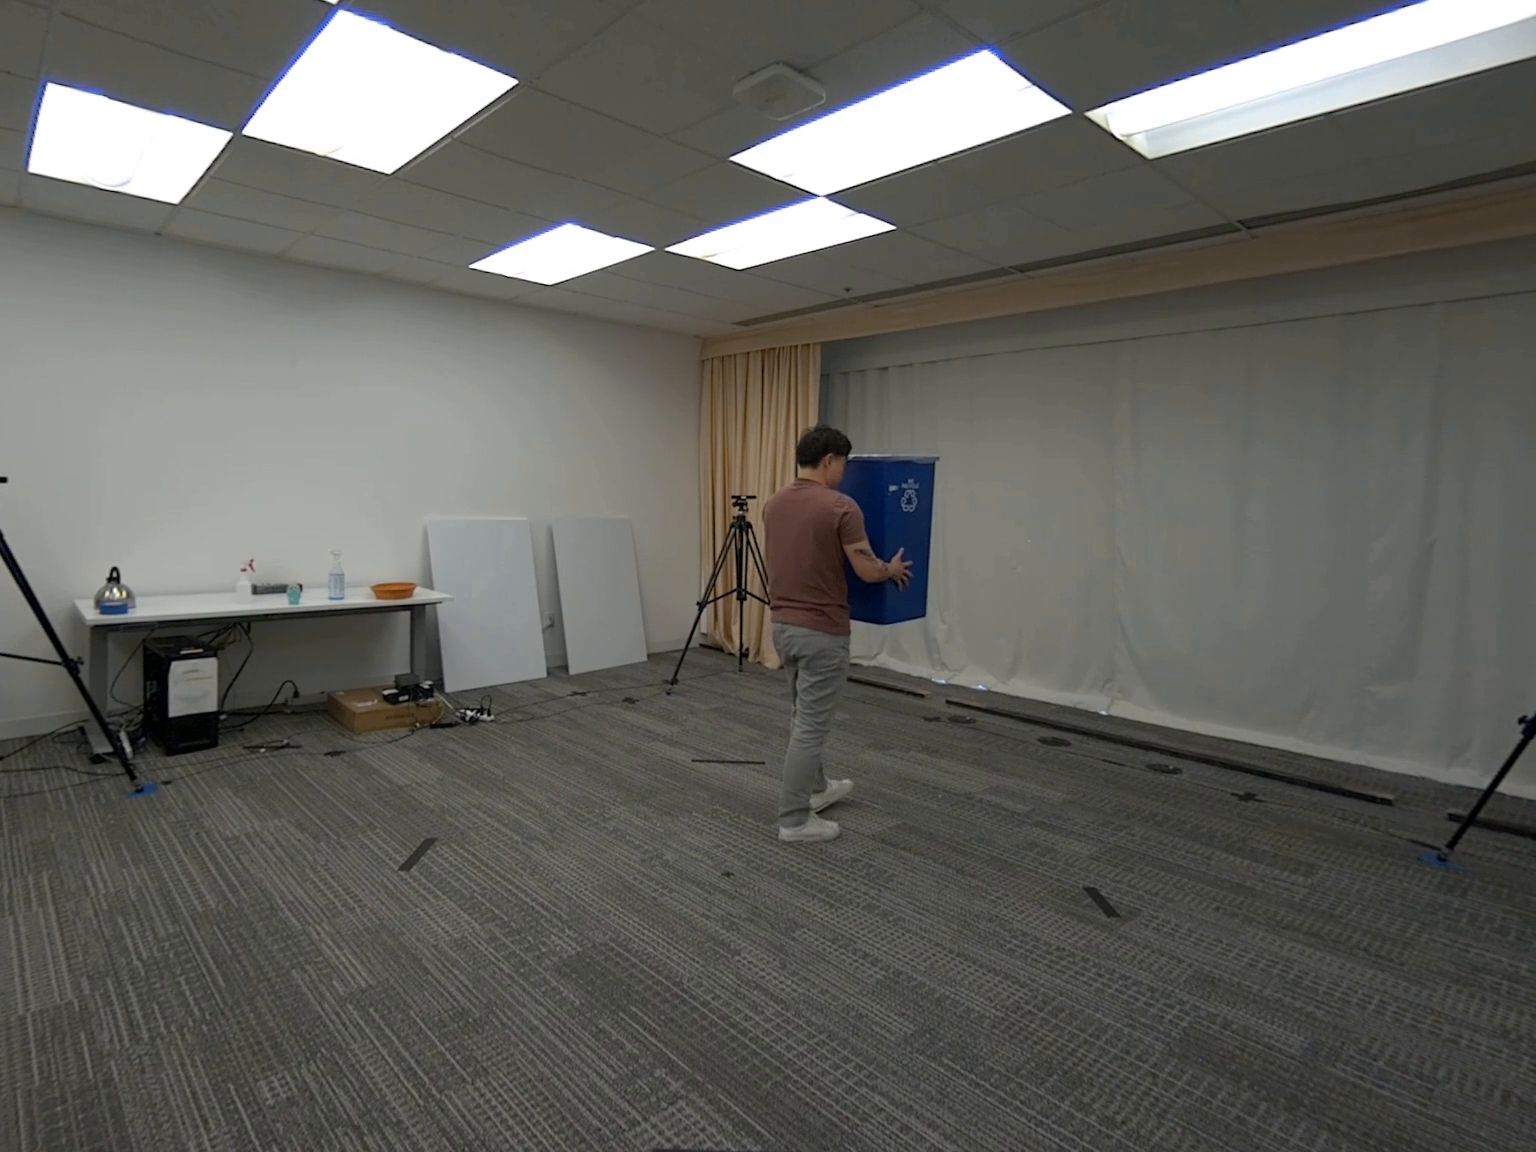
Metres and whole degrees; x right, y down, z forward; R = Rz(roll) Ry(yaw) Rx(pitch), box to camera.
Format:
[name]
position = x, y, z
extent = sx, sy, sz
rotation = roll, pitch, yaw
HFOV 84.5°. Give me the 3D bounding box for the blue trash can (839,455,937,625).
[blue trash can]
position = 0.487, -0.177, 3.715
extent = 0.366, 0.710, 0.388
rotation = -5, 9, -41
